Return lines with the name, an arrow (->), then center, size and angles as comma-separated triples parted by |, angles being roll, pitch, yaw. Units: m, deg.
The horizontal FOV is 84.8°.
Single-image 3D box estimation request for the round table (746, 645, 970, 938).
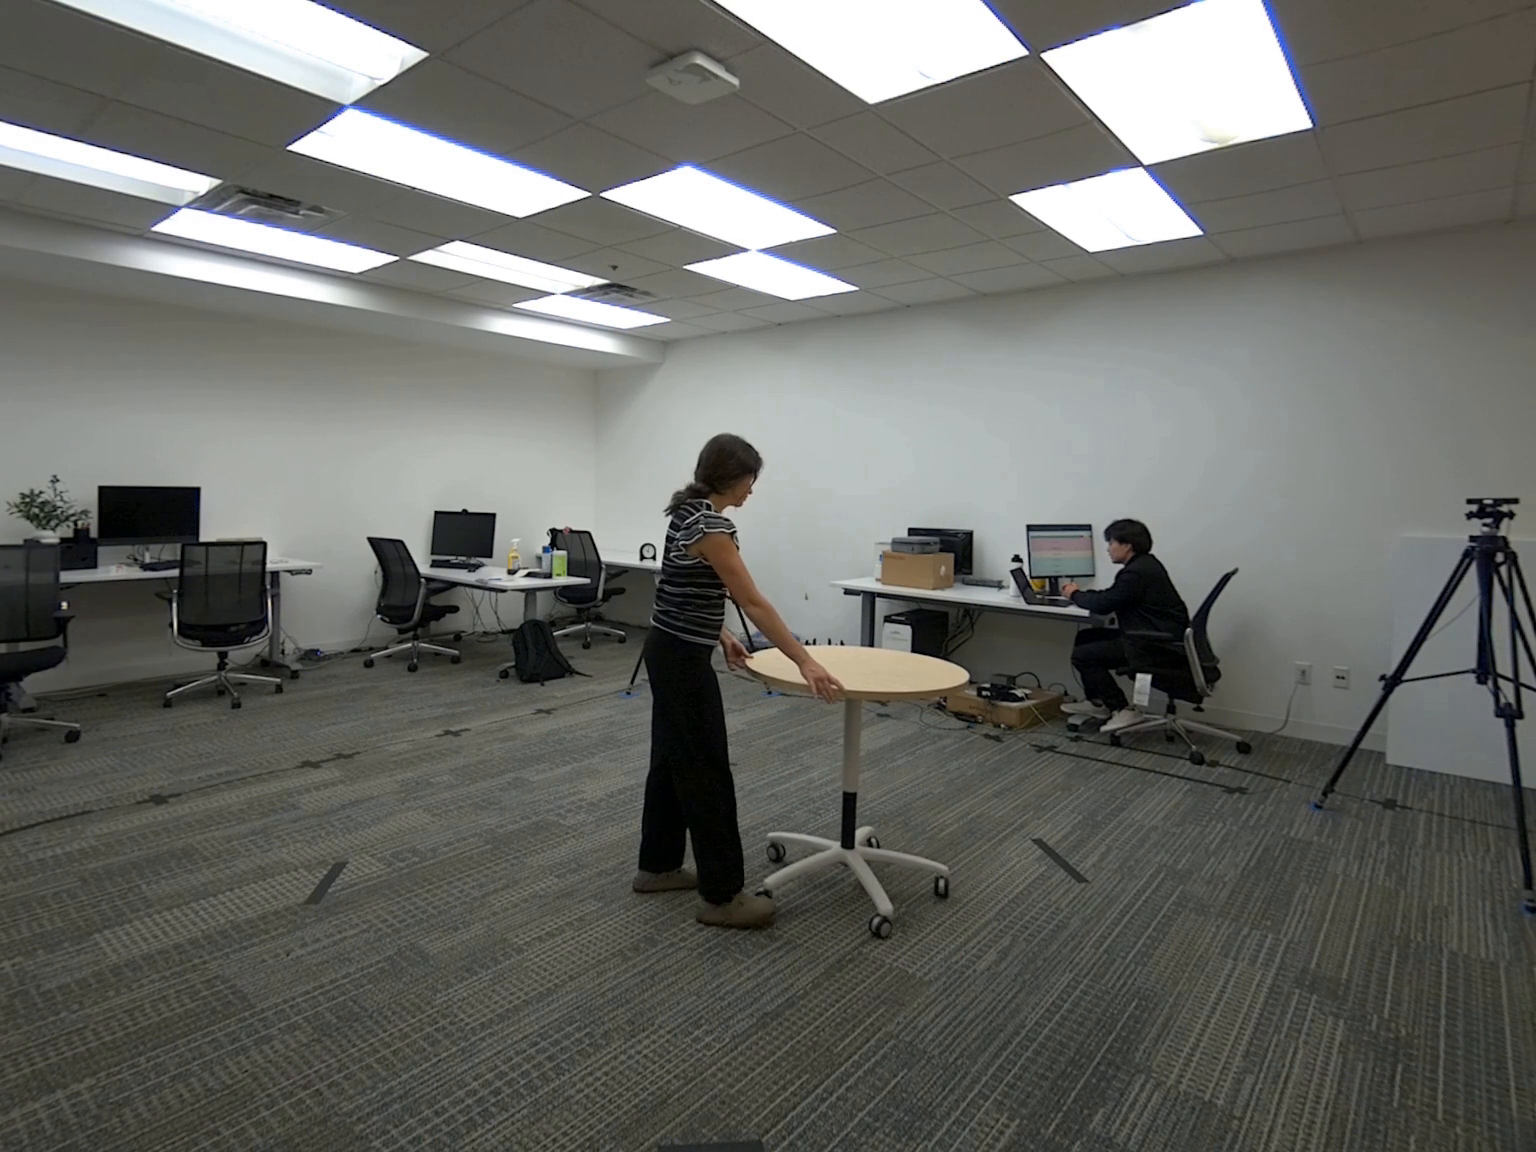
round table -> 0.295, 0.698, 2.987 | 0.784, 0.784, 0.789 | 2, 5, -2
